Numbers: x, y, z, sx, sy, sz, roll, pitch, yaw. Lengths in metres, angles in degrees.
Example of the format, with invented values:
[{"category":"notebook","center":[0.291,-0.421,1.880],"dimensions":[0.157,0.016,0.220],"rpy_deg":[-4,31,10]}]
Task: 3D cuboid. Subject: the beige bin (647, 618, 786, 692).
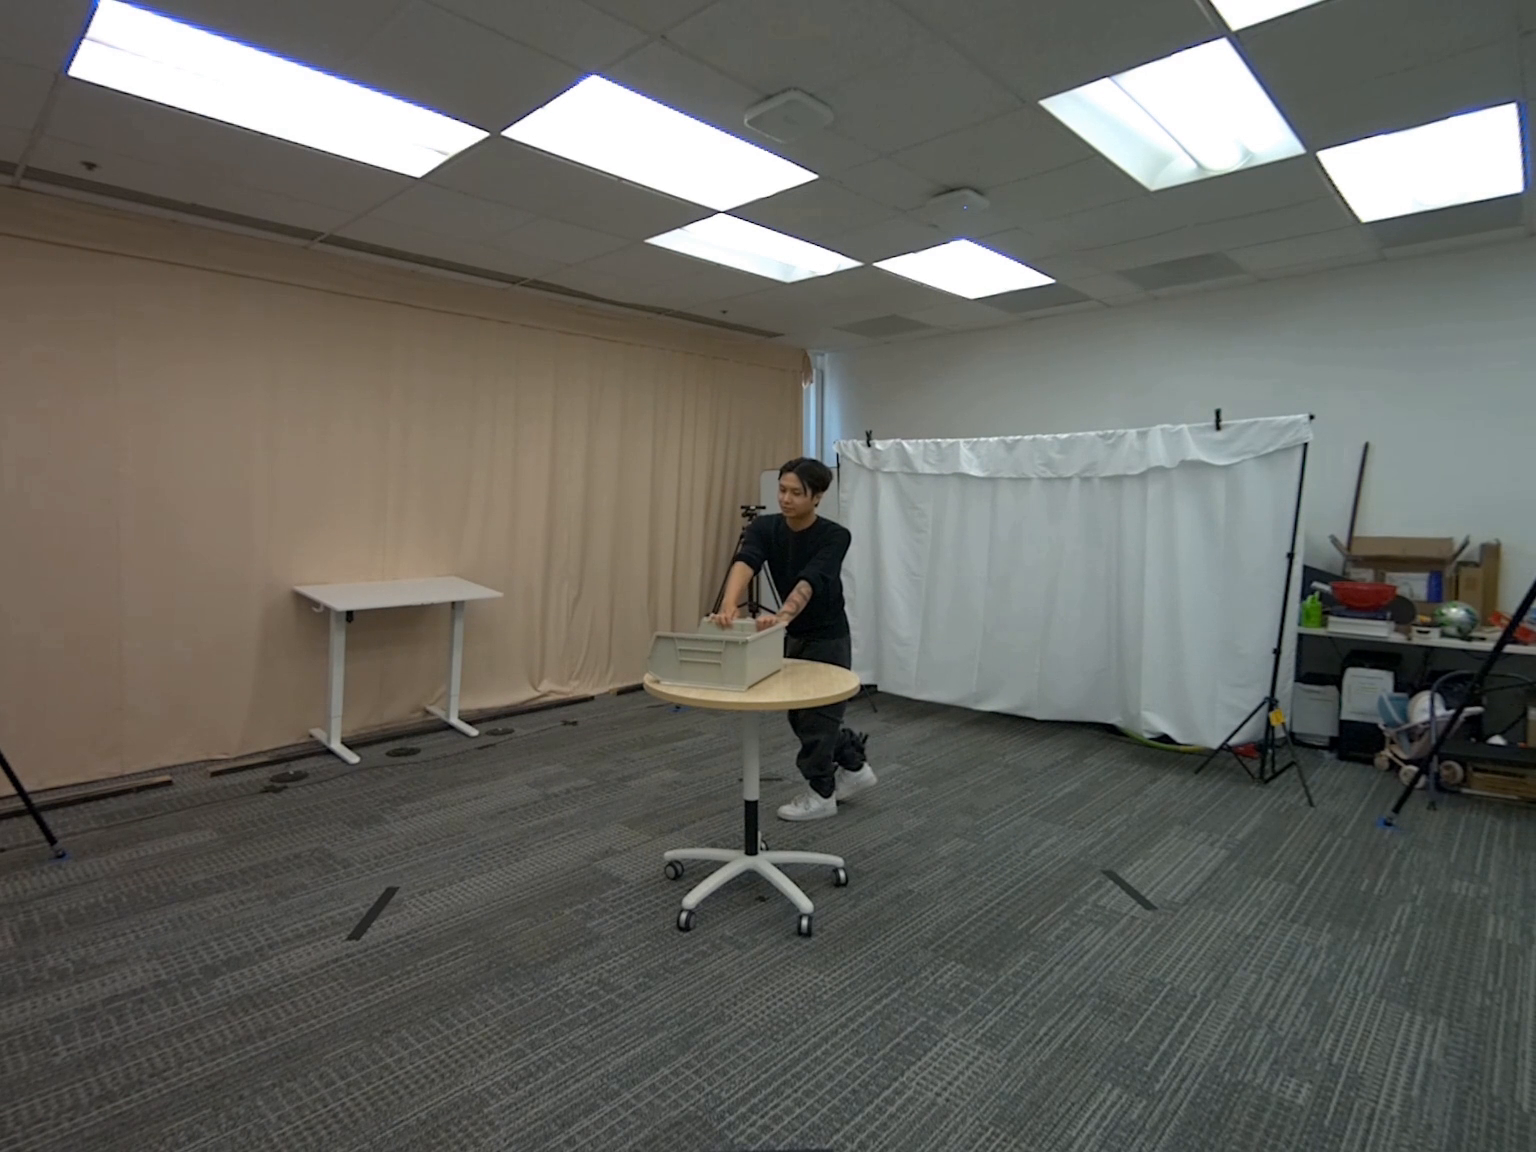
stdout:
[{"category":"beige bin","center":[-0.170,0.266,3.001],"dimensions":[0.386,0.188,0.414],"rpy_deg":[5,5,21]}]
